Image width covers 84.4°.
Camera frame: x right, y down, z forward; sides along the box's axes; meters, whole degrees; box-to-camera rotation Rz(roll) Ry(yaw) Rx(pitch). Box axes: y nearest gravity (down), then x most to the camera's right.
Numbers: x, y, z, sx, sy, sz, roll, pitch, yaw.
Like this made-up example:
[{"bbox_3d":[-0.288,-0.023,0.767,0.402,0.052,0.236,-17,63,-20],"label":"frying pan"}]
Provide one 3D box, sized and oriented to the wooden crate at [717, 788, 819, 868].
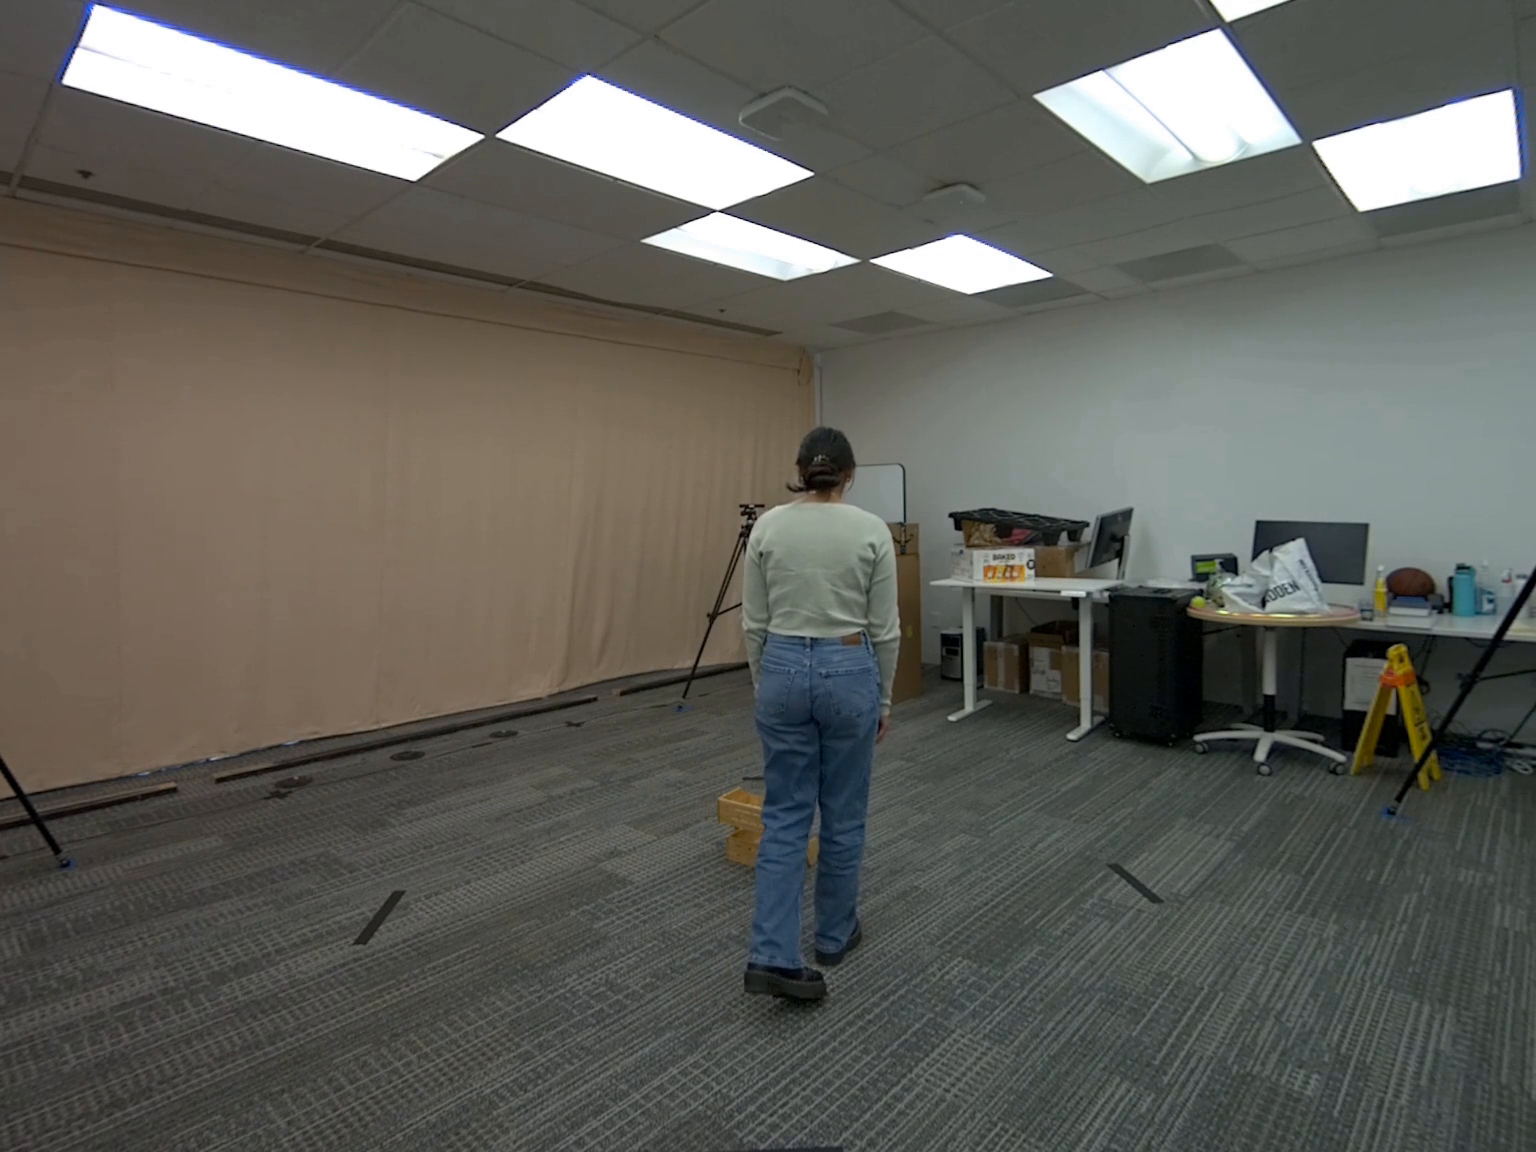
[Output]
[{"bbox_3d":[0.016,0.975,3.287,0.334,0.272,0.294,2,6,34],"label":"wooden crate"}]
